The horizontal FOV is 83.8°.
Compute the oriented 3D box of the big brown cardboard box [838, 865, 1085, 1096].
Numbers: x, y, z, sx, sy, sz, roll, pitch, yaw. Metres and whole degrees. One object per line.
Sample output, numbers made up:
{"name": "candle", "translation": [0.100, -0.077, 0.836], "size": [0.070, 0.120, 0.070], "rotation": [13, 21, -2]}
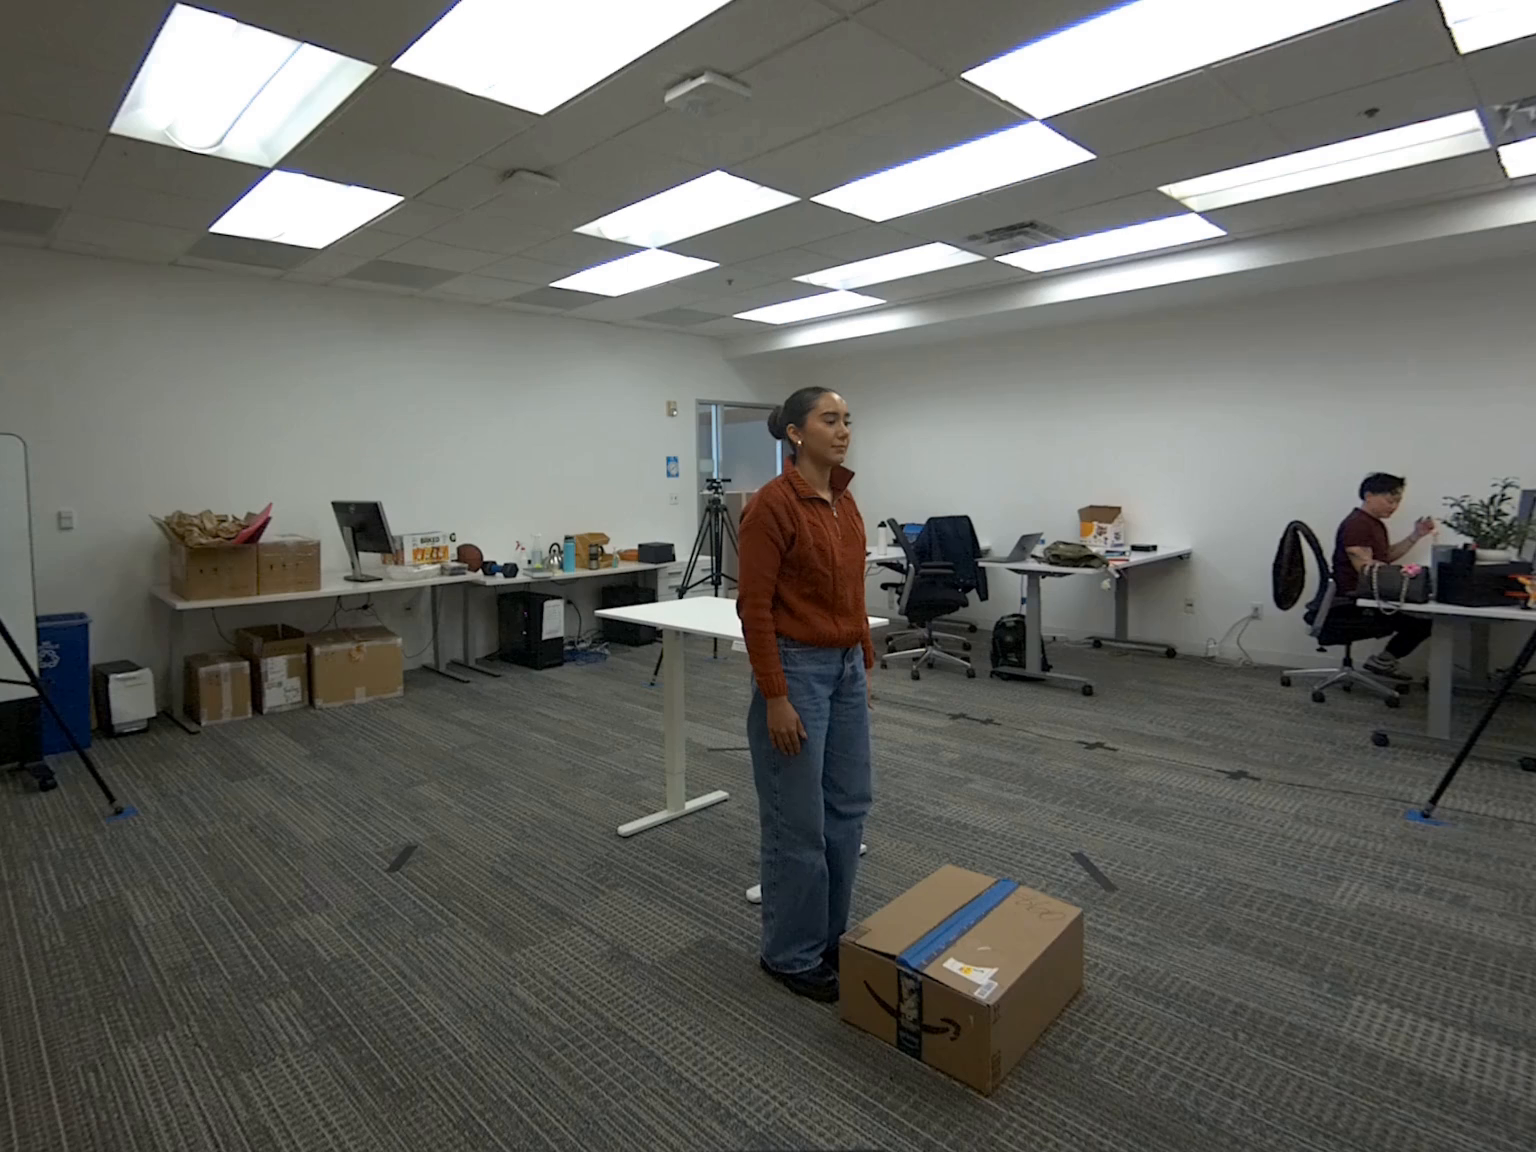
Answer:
{"name": "big brown cardboard box", "translation": [0.524, 1.021, 2.251], "size": [0.430, 0.232, 0.573], "rotation": [4, 7, 41]}
